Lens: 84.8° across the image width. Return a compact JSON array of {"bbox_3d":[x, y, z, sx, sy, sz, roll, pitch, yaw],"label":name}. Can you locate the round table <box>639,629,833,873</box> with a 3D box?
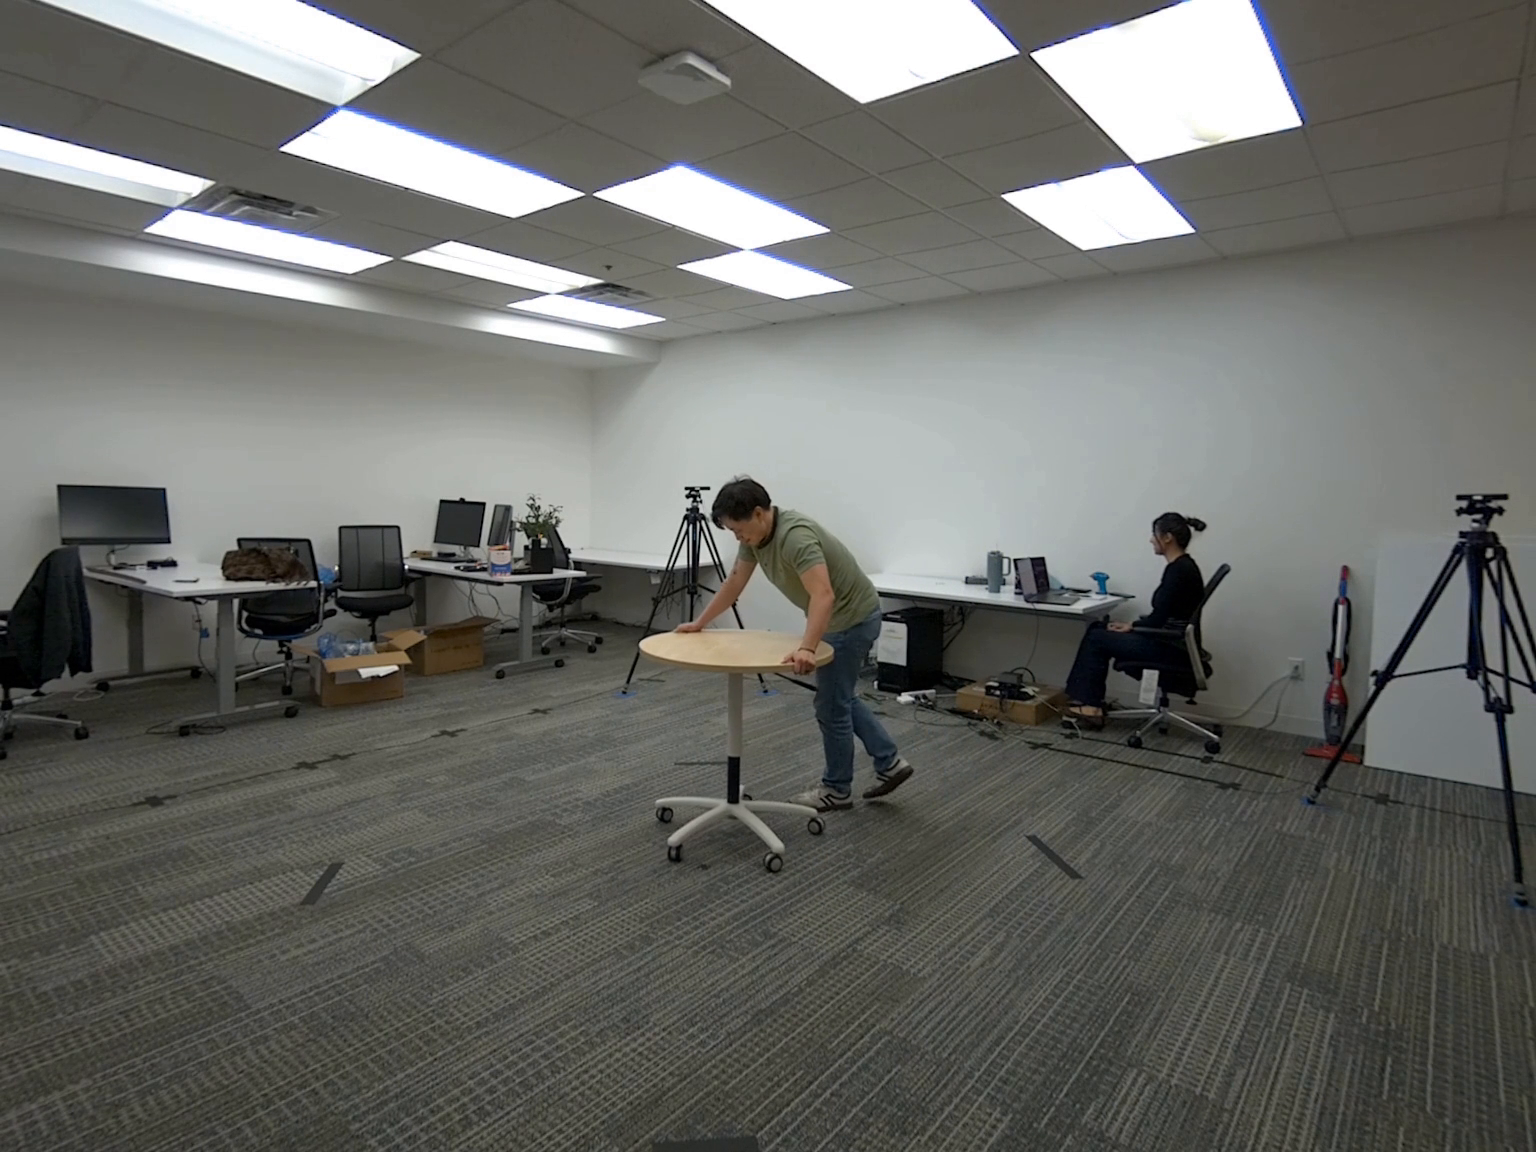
[{"bbox_3d":[-0.146,0.657,3.380,0.763,0.791,0.768,1,4,-2],"label":"round table"}]
